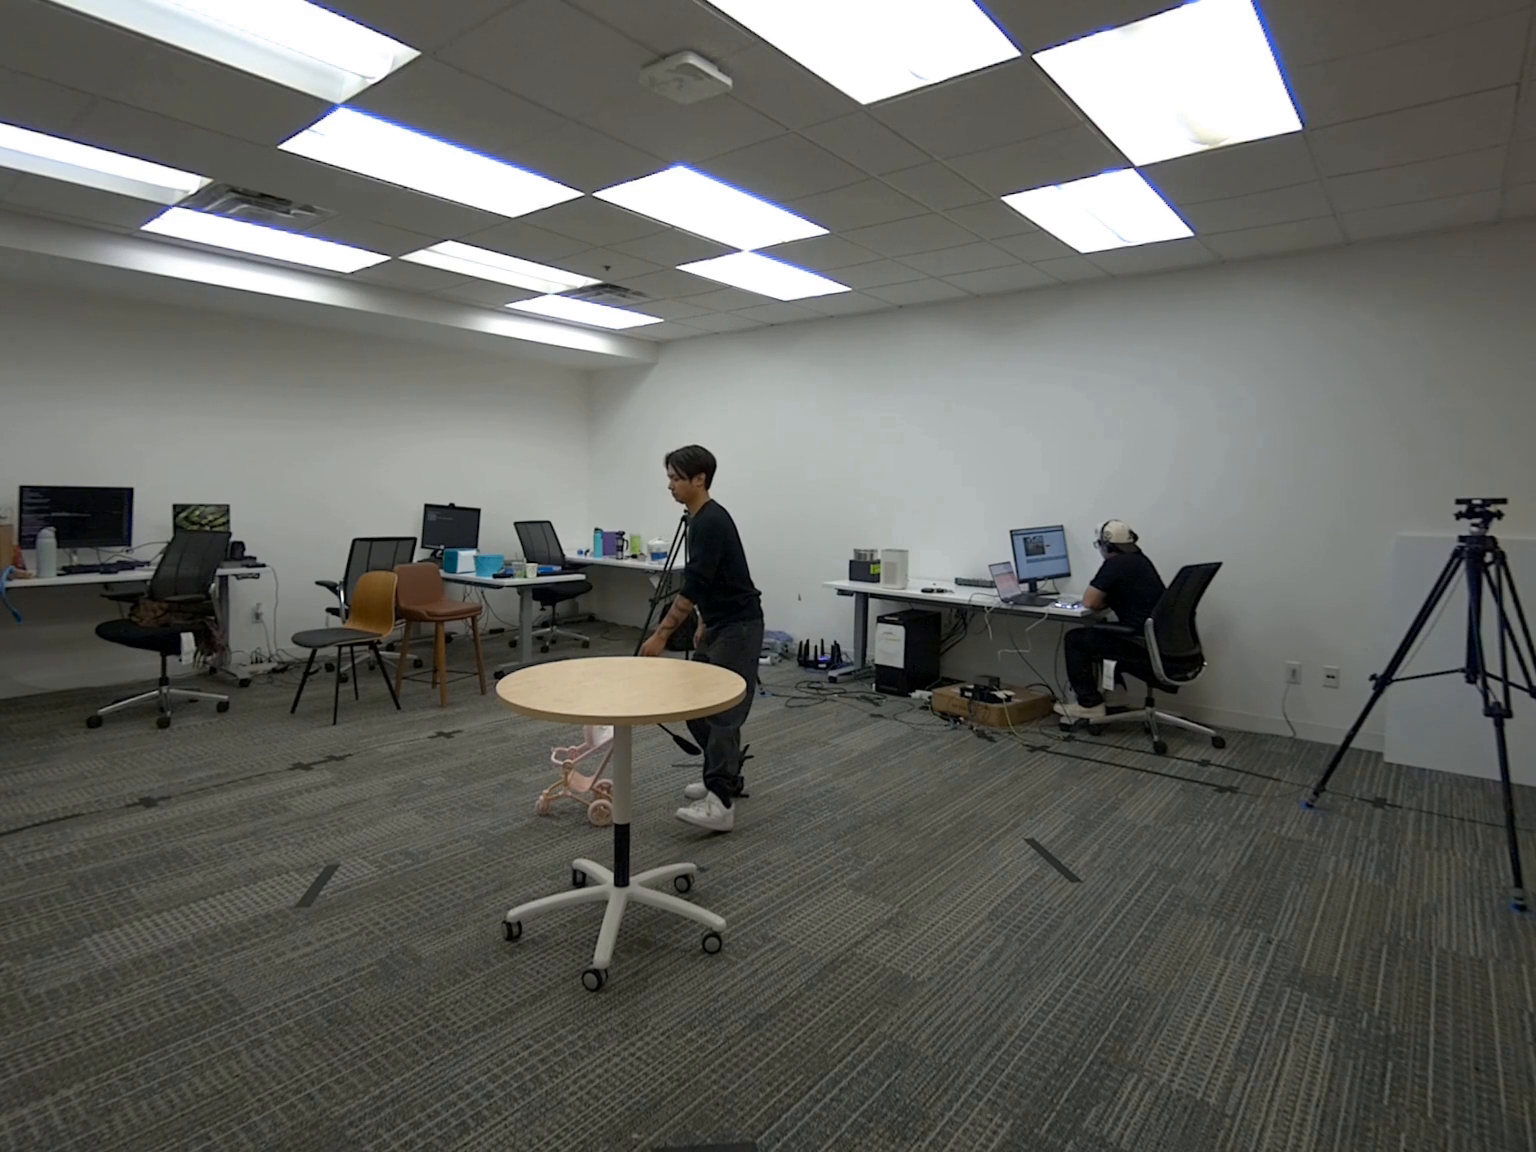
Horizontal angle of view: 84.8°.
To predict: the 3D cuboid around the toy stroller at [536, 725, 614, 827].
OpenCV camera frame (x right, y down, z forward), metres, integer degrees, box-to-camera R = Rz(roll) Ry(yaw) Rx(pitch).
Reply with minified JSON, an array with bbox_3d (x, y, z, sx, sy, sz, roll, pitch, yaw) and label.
[{"bbox_3d":[-0.778,0.788,3.613,0.341,0.534,0.282,17,3,-1],"label":"toy stroller"}]
